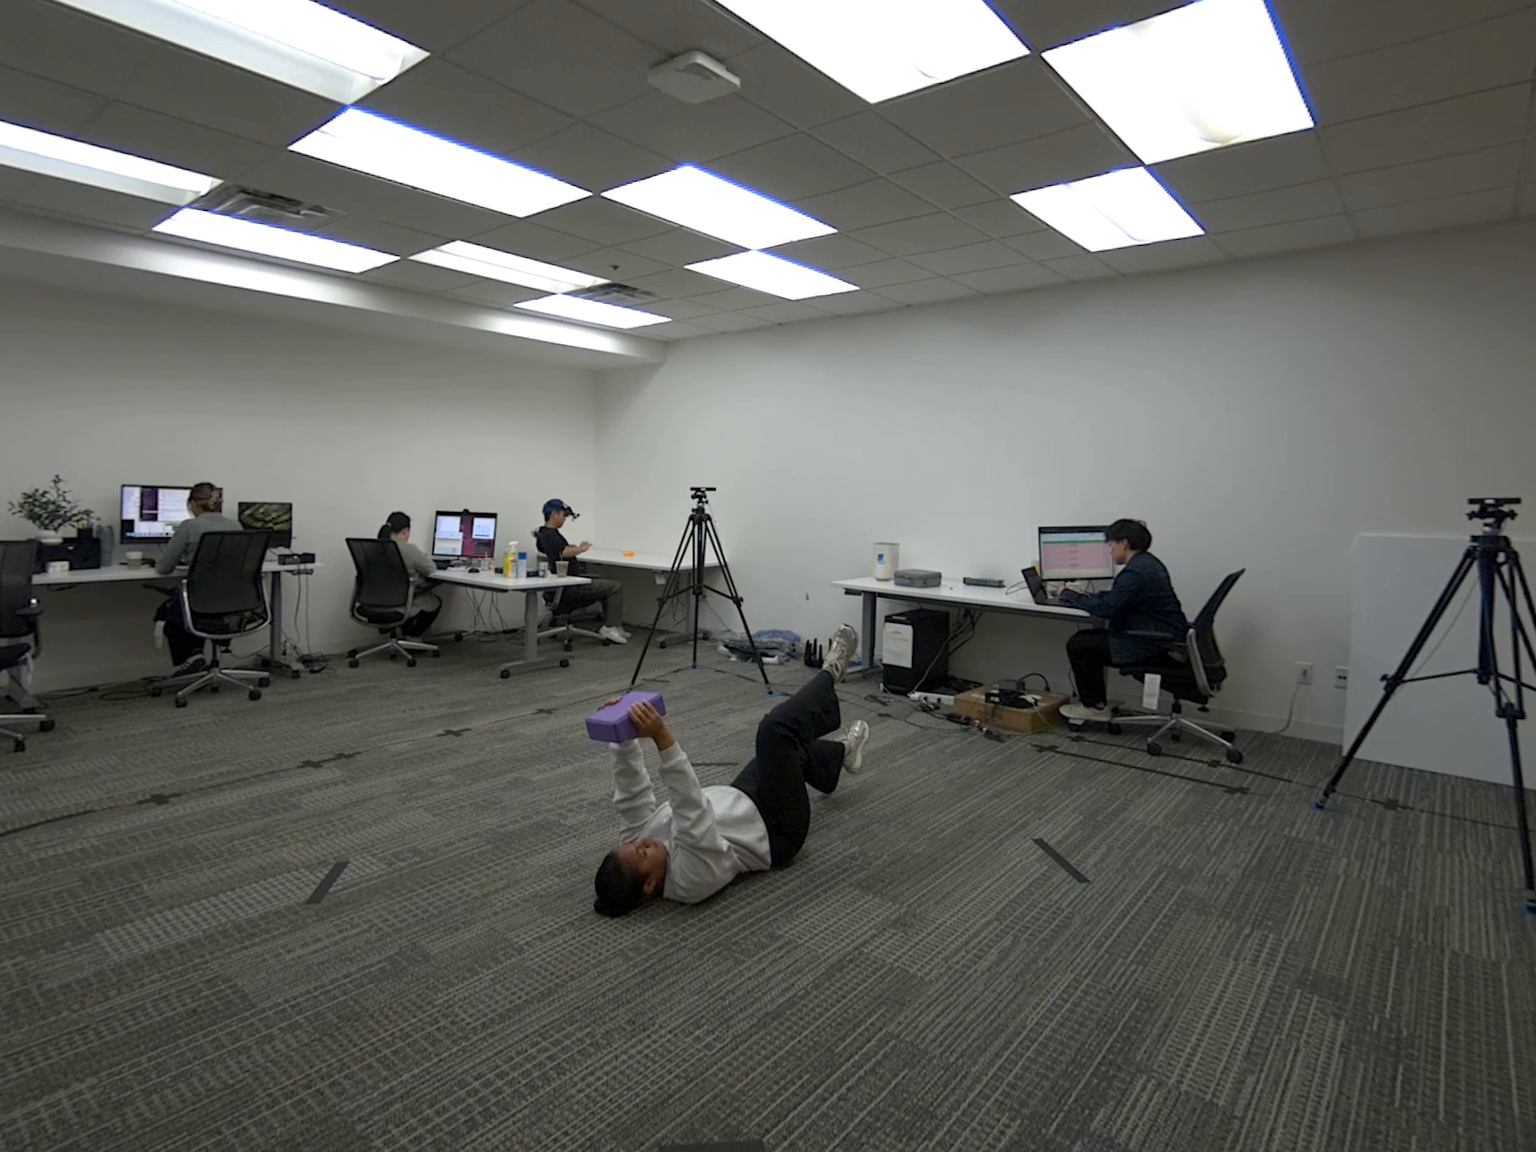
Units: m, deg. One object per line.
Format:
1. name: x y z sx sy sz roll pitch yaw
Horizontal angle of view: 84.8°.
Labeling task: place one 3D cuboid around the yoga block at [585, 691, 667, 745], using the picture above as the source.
1. yoga block: -0.477 0.458 2.766 0.153 0.075 0.226 -4 15 37
